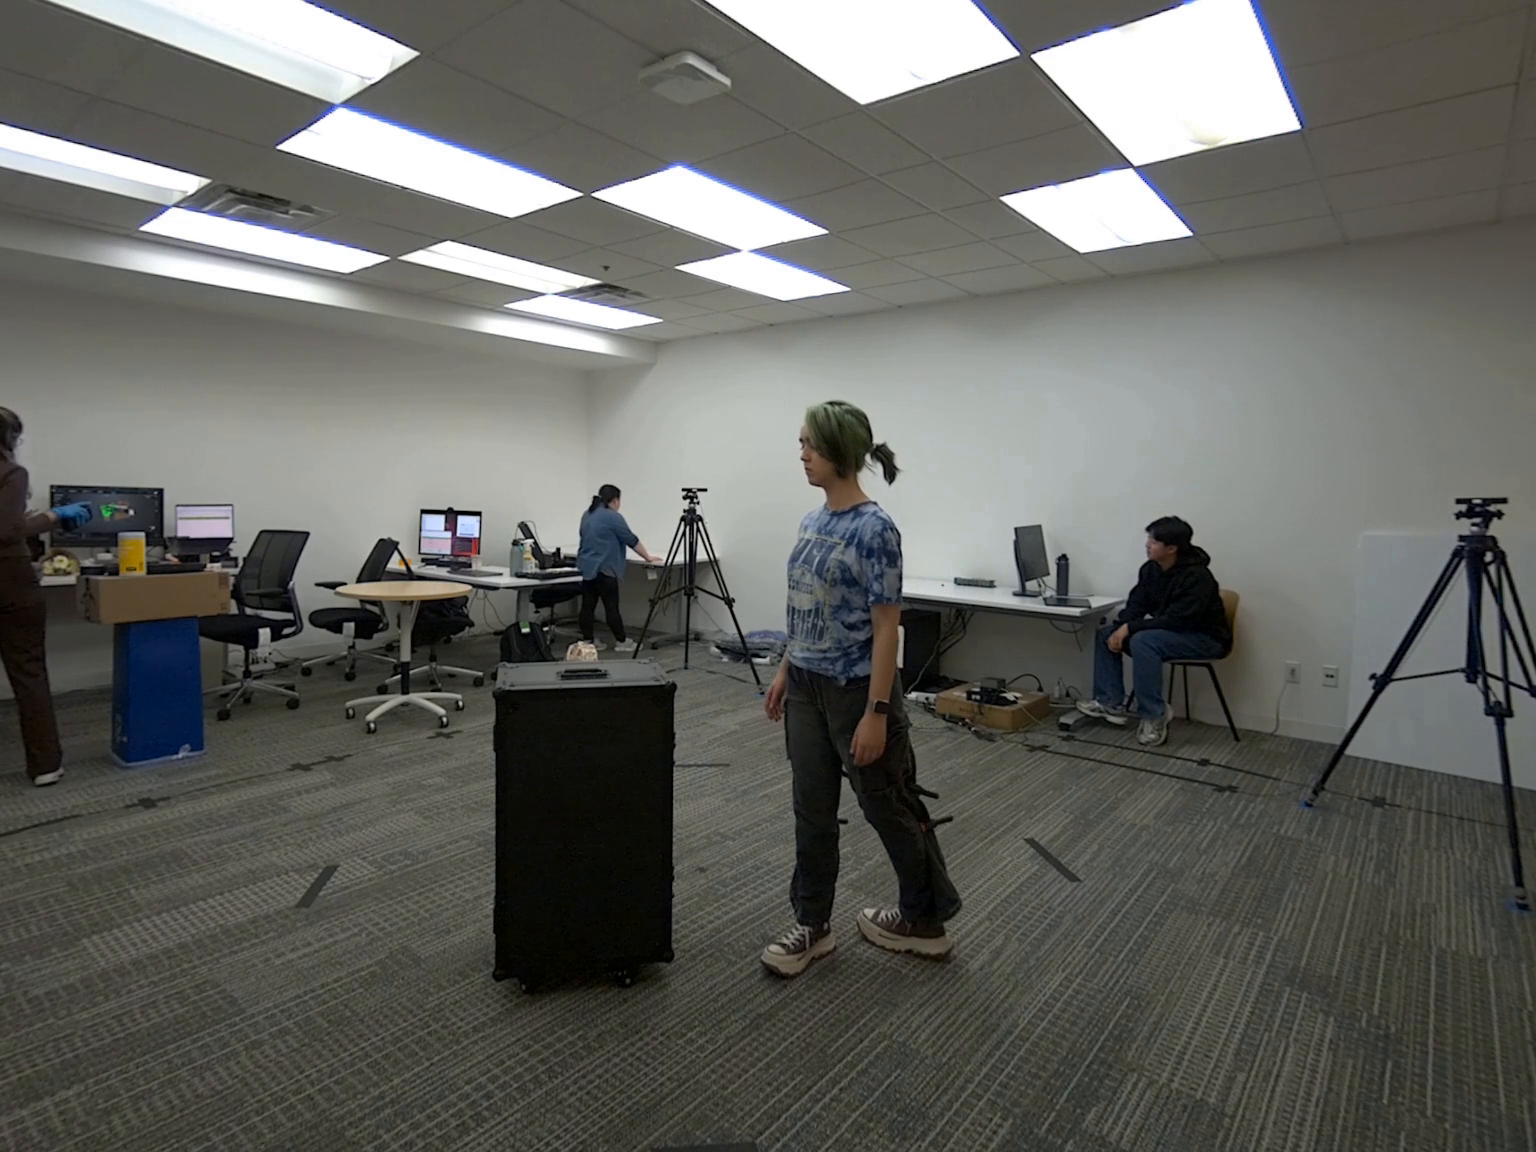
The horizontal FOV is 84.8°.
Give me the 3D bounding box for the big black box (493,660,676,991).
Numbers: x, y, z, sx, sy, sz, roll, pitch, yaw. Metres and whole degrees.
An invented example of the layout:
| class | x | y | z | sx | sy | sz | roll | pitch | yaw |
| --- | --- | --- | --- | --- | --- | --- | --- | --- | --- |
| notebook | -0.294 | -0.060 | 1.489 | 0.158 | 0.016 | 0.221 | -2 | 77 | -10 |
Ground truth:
| class | x | y | z | sx | sy | sz | roll | pitch | yaw |
| --- | --- | --- | --- | --- | --- | --- | --- | --- | --- |
| big black box | -0.557 | 0.709 | 2.477 | 0.514 | 0.860 | 0.402 | 0 | 2 | -13 |
